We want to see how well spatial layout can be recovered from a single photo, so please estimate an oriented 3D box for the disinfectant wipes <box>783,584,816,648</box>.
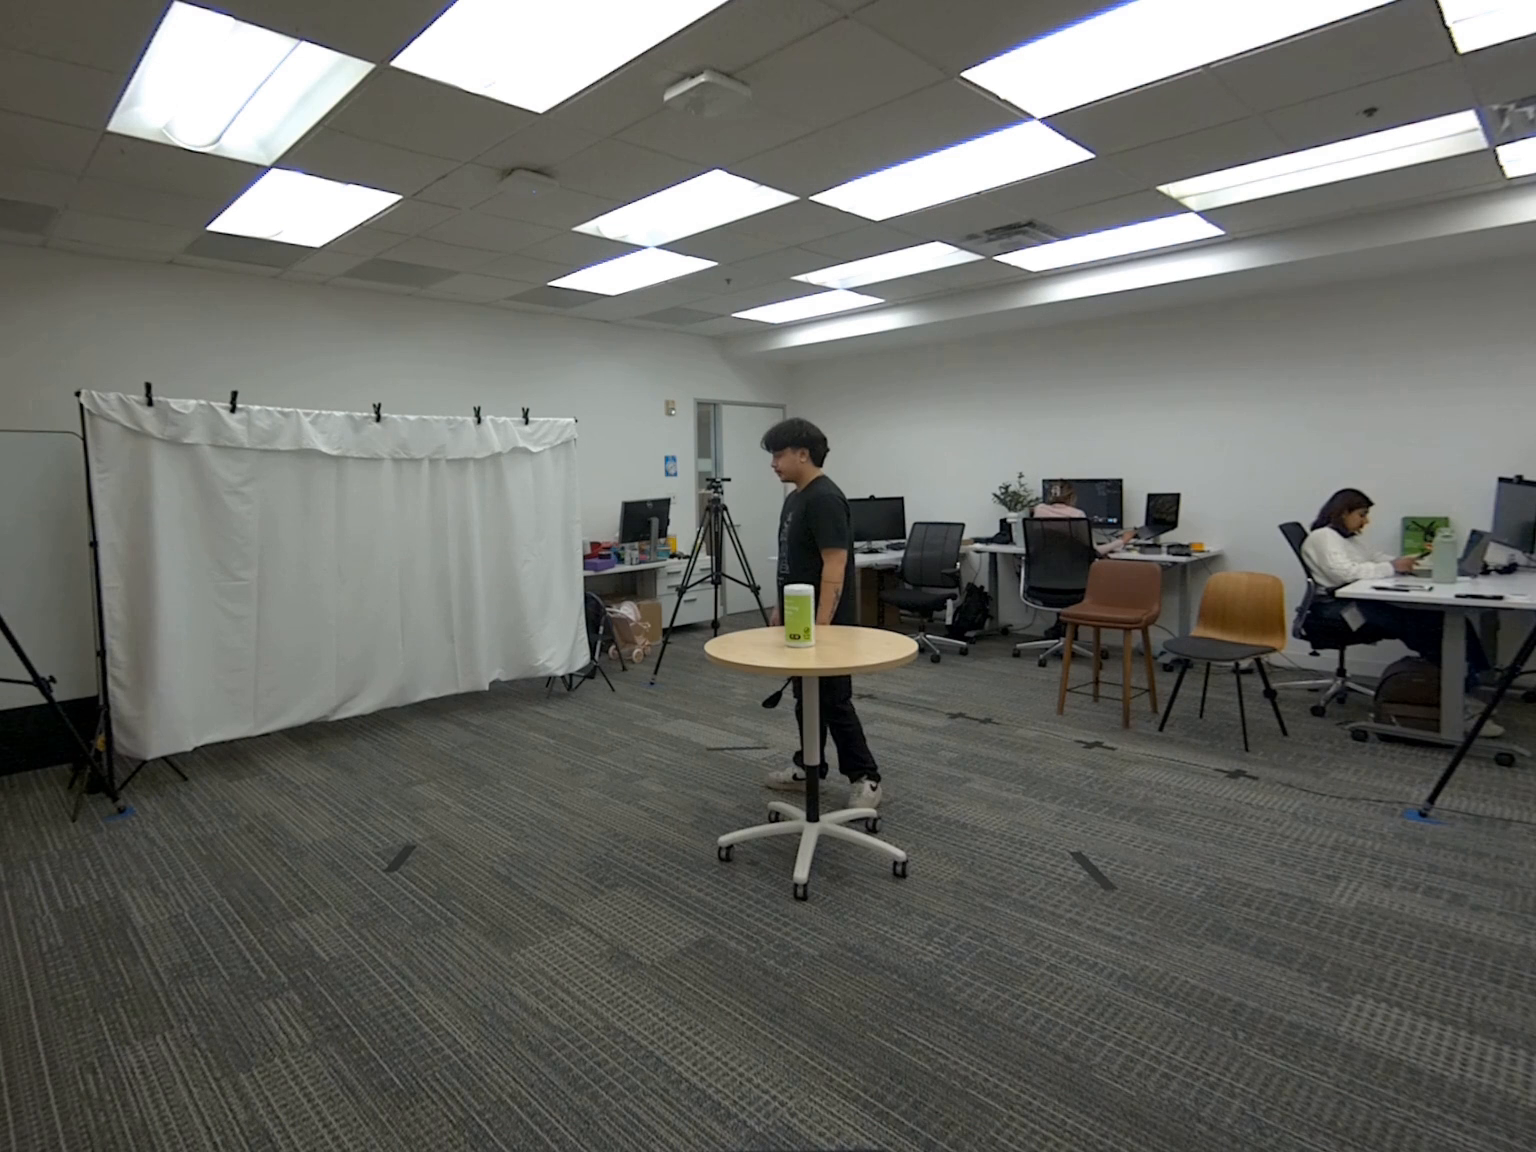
[{"bbox_3d":[0.116,0.145,3.071,0.118,0.216,0.118,-2,4,-2],"label":"disinfectant wipes"}]
